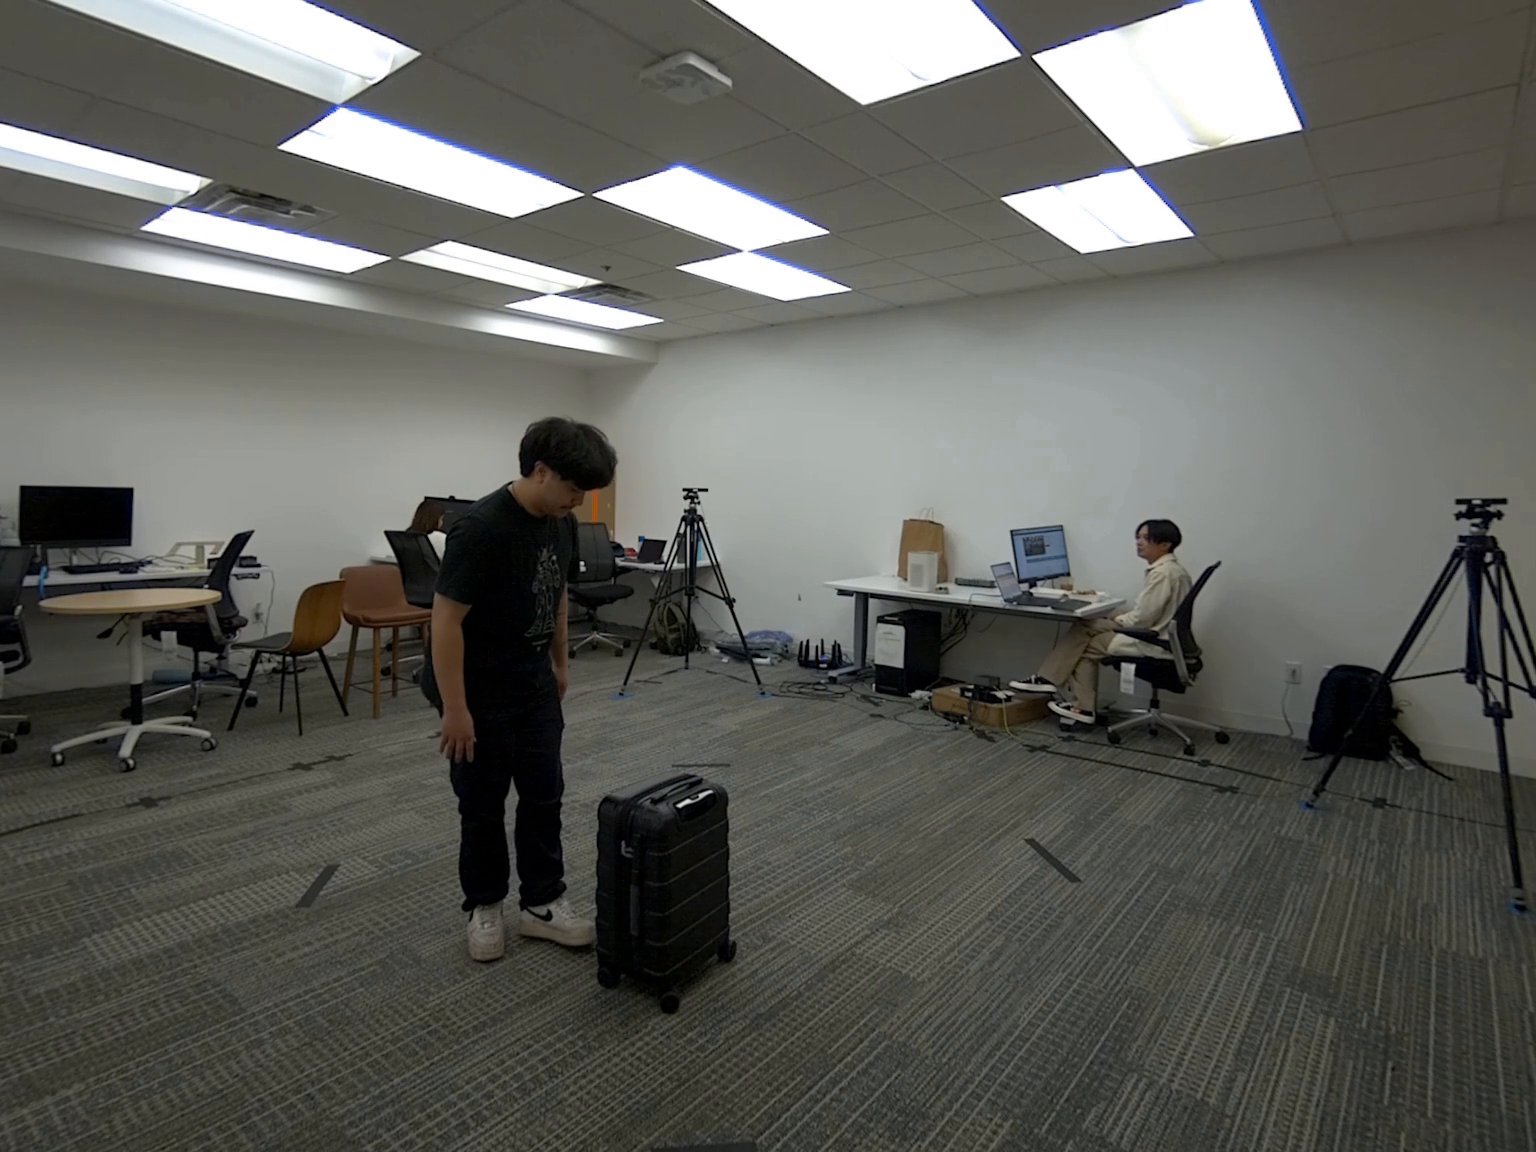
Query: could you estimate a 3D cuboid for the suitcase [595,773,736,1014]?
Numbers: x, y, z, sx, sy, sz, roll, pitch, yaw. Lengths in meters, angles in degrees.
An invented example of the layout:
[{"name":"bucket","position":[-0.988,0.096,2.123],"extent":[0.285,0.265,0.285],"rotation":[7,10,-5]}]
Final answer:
[{"name":"suitcase","position":[-0.303,0.862,2.422],"extent":[0.256,0.547,0.365],"rotation":[2,5,33]}]
